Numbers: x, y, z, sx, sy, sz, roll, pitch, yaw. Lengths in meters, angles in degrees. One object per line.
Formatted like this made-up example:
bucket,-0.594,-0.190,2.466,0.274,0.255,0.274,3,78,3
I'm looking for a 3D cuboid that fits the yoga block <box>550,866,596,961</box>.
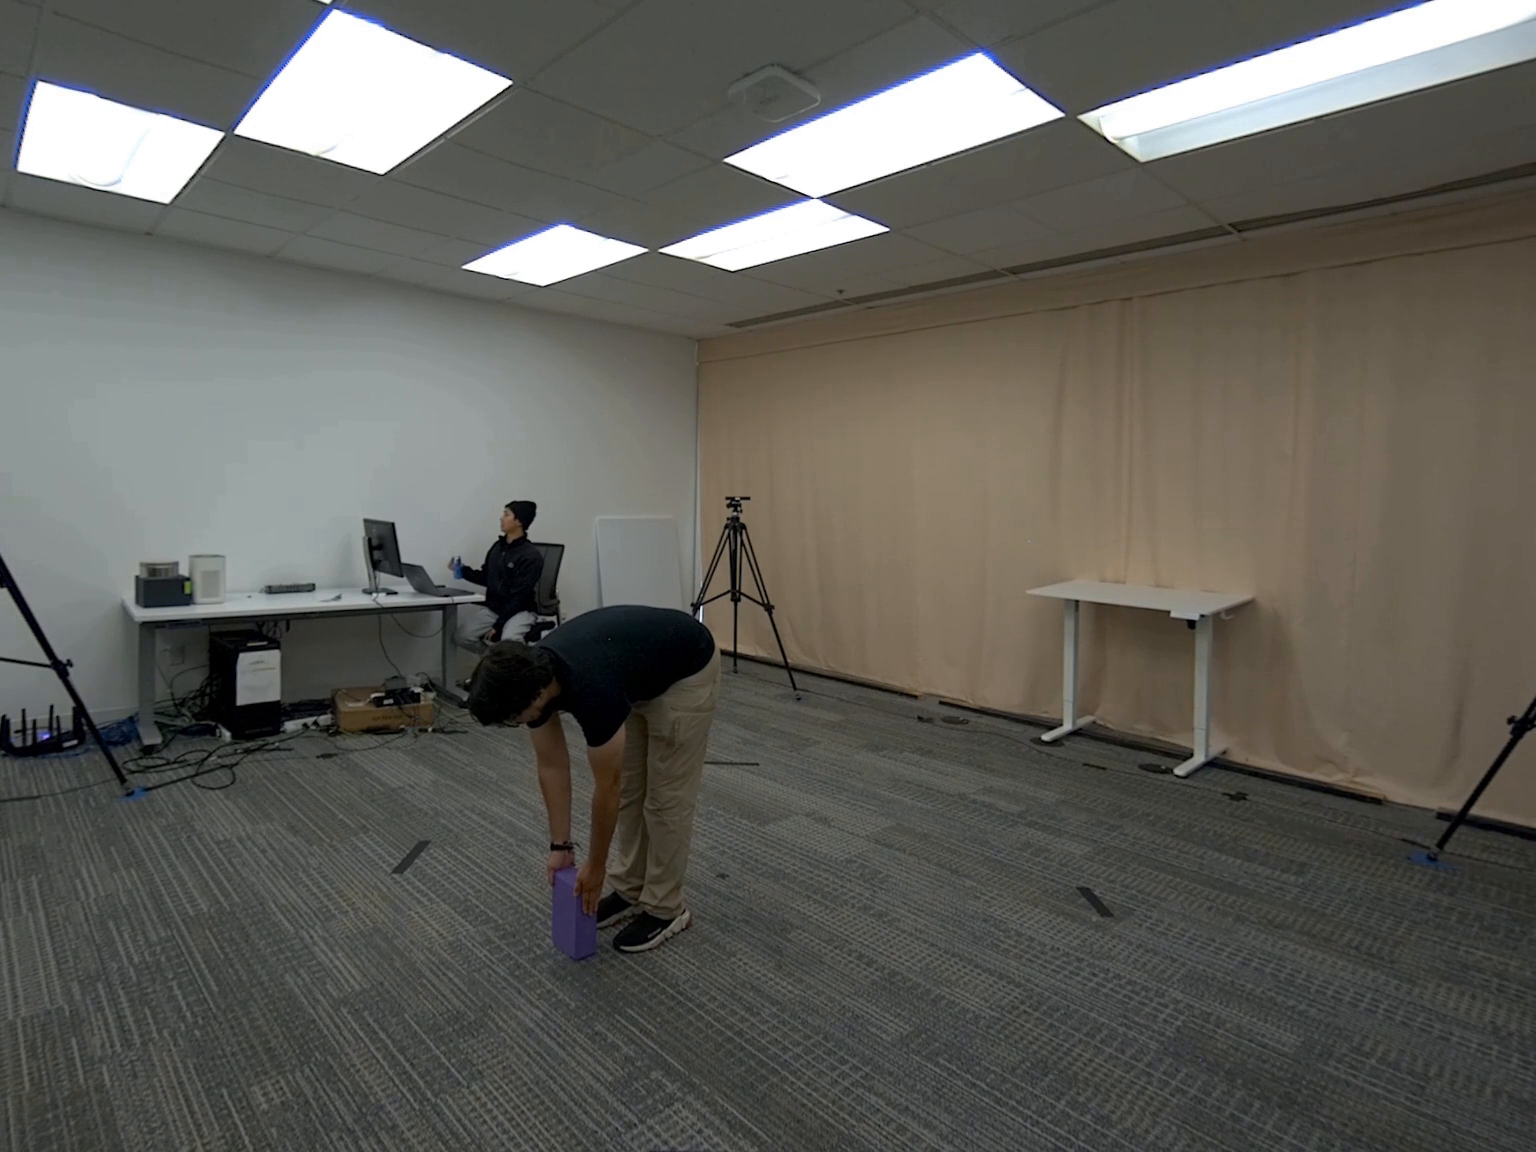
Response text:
yoga block,-0.599,1.033,2.574,0.075,0.228,0.153,-3,6,-42
